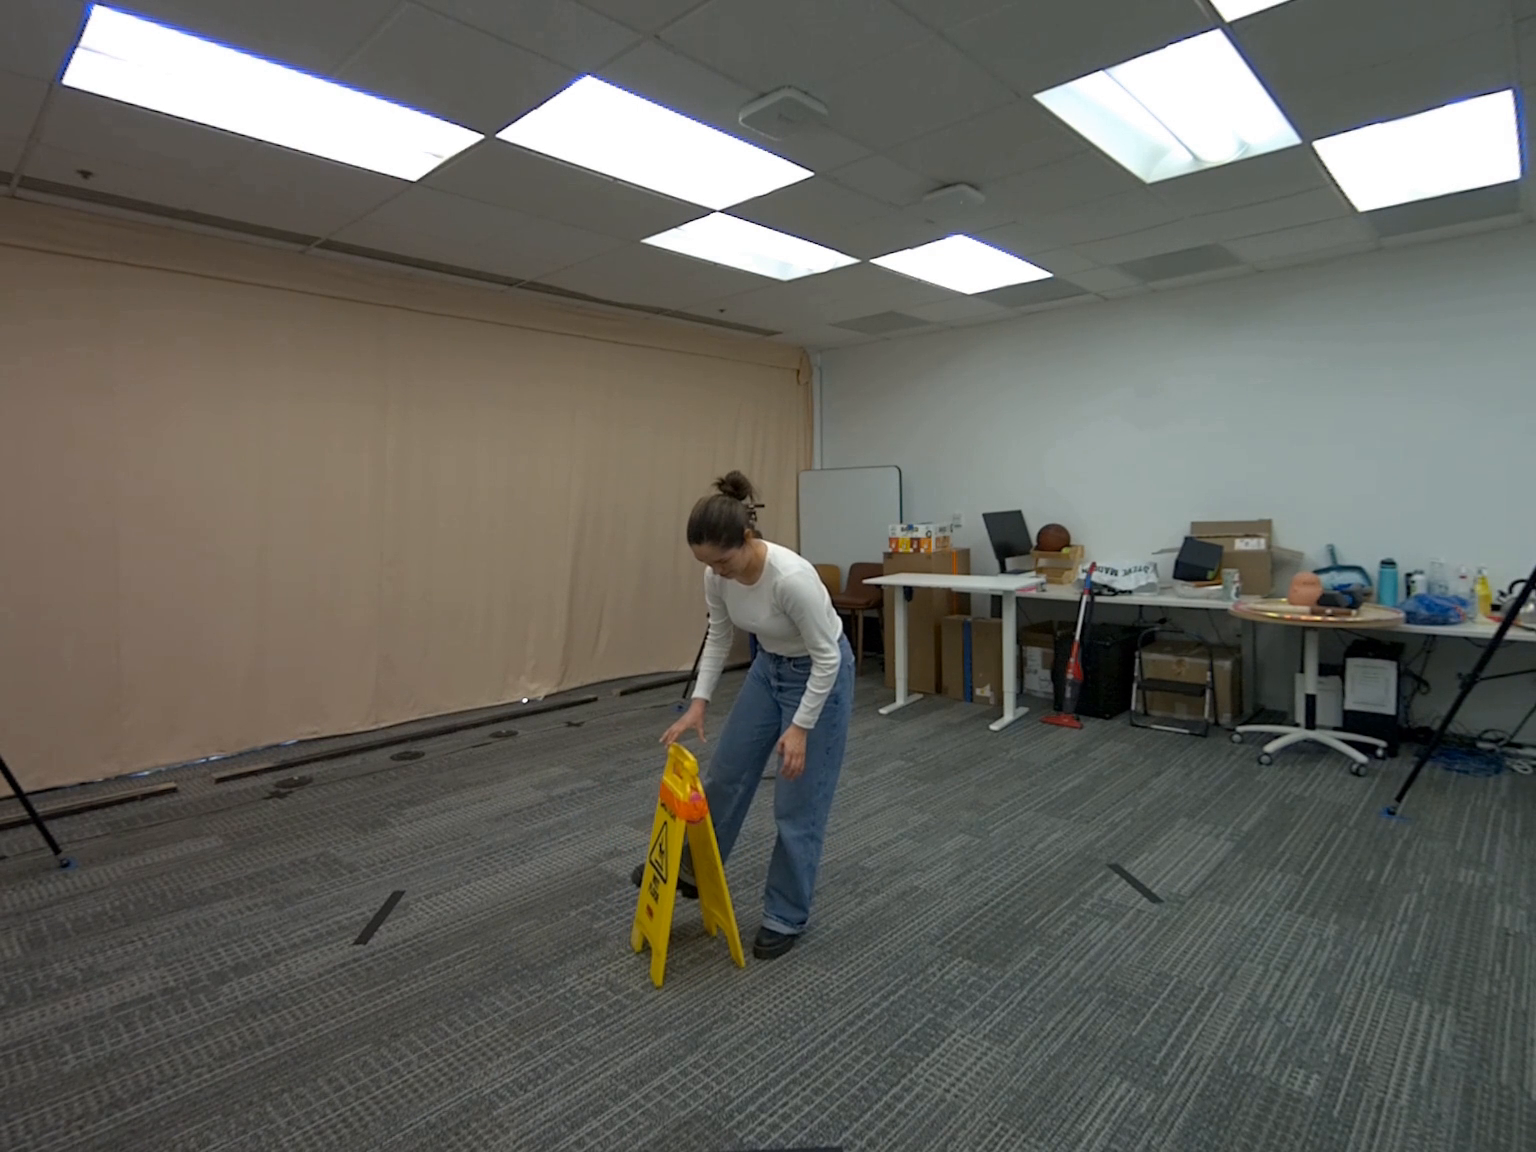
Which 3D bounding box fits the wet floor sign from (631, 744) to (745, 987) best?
[{"bbox_3d":[-0.251,0.858,2.579,0.283,0.644,0.290,-3,5,-25],"label":"wet floor sign"}]
